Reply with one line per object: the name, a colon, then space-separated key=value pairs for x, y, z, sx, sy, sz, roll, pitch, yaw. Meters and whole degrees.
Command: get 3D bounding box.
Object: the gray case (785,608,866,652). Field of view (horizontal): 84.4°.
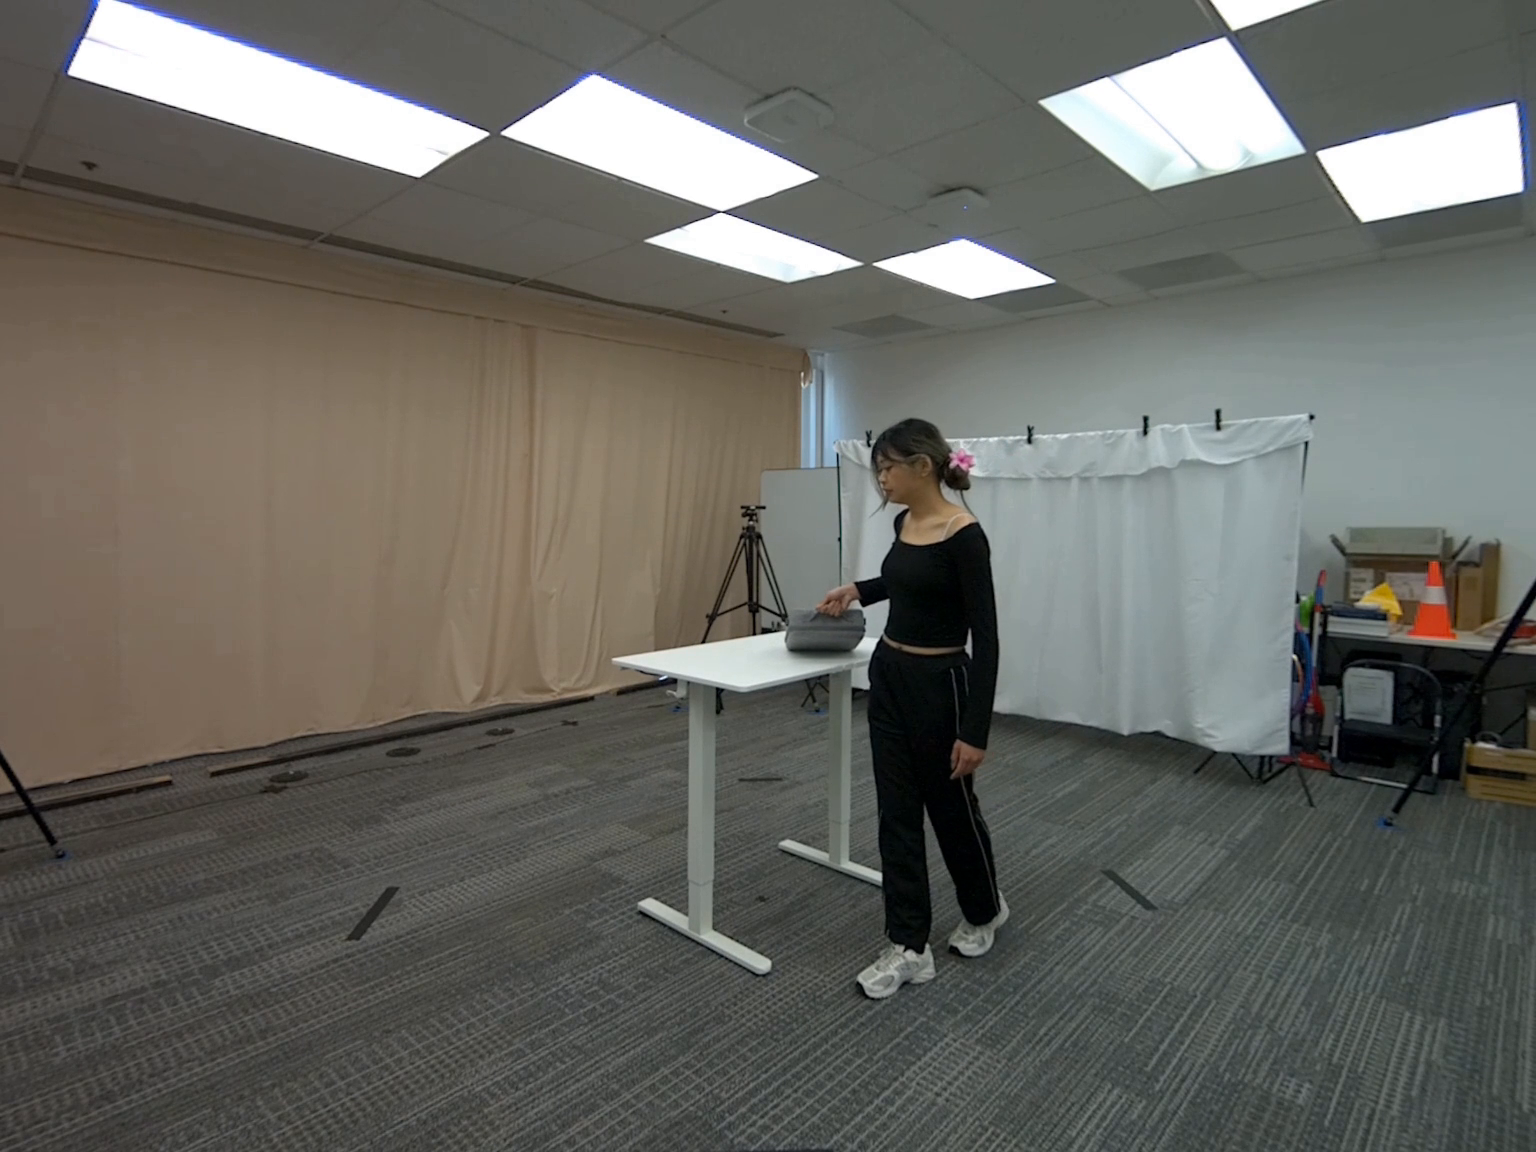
gray case: x=0.190 y=0.182 z=2.871 sx=0.256 sy=0.105 sz=0.258 roll=3 pitch=-18 yaw=-3
